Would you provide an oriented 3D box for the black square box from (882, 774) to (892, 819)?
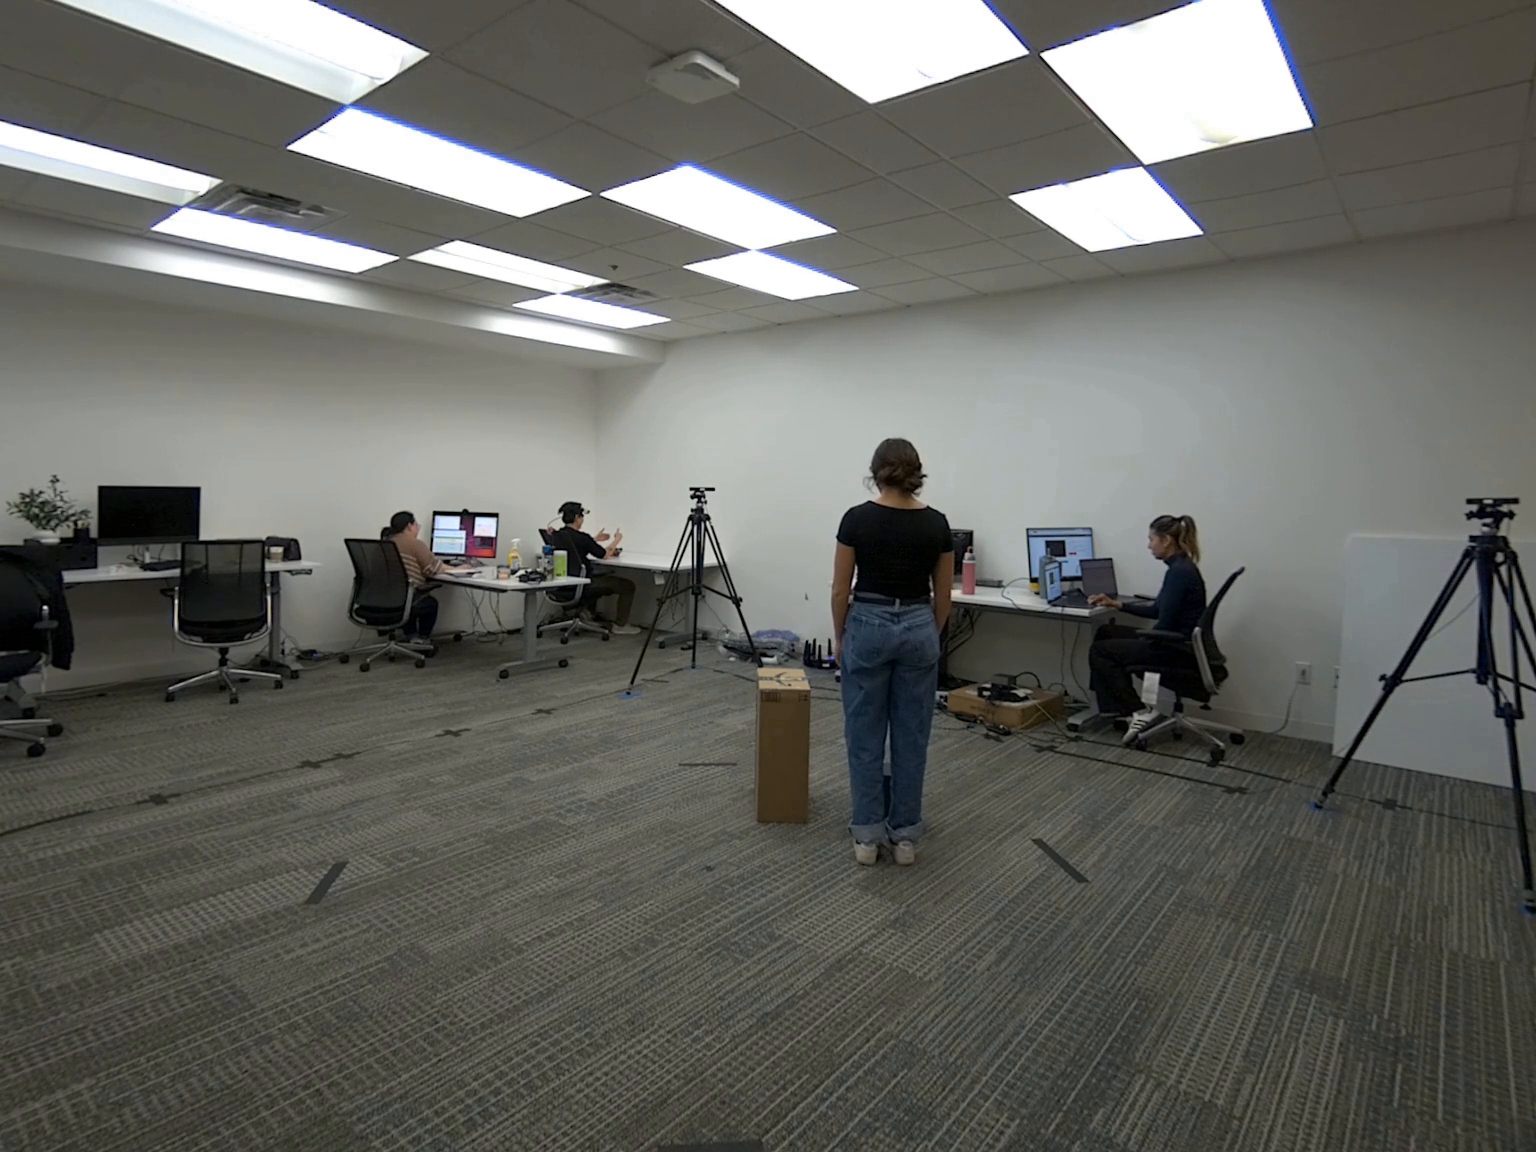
[{"bbox_3d":[0.506,0.908,3.571,0.219,0.227,0.155,2,4,9],"label":"black square box"}]
